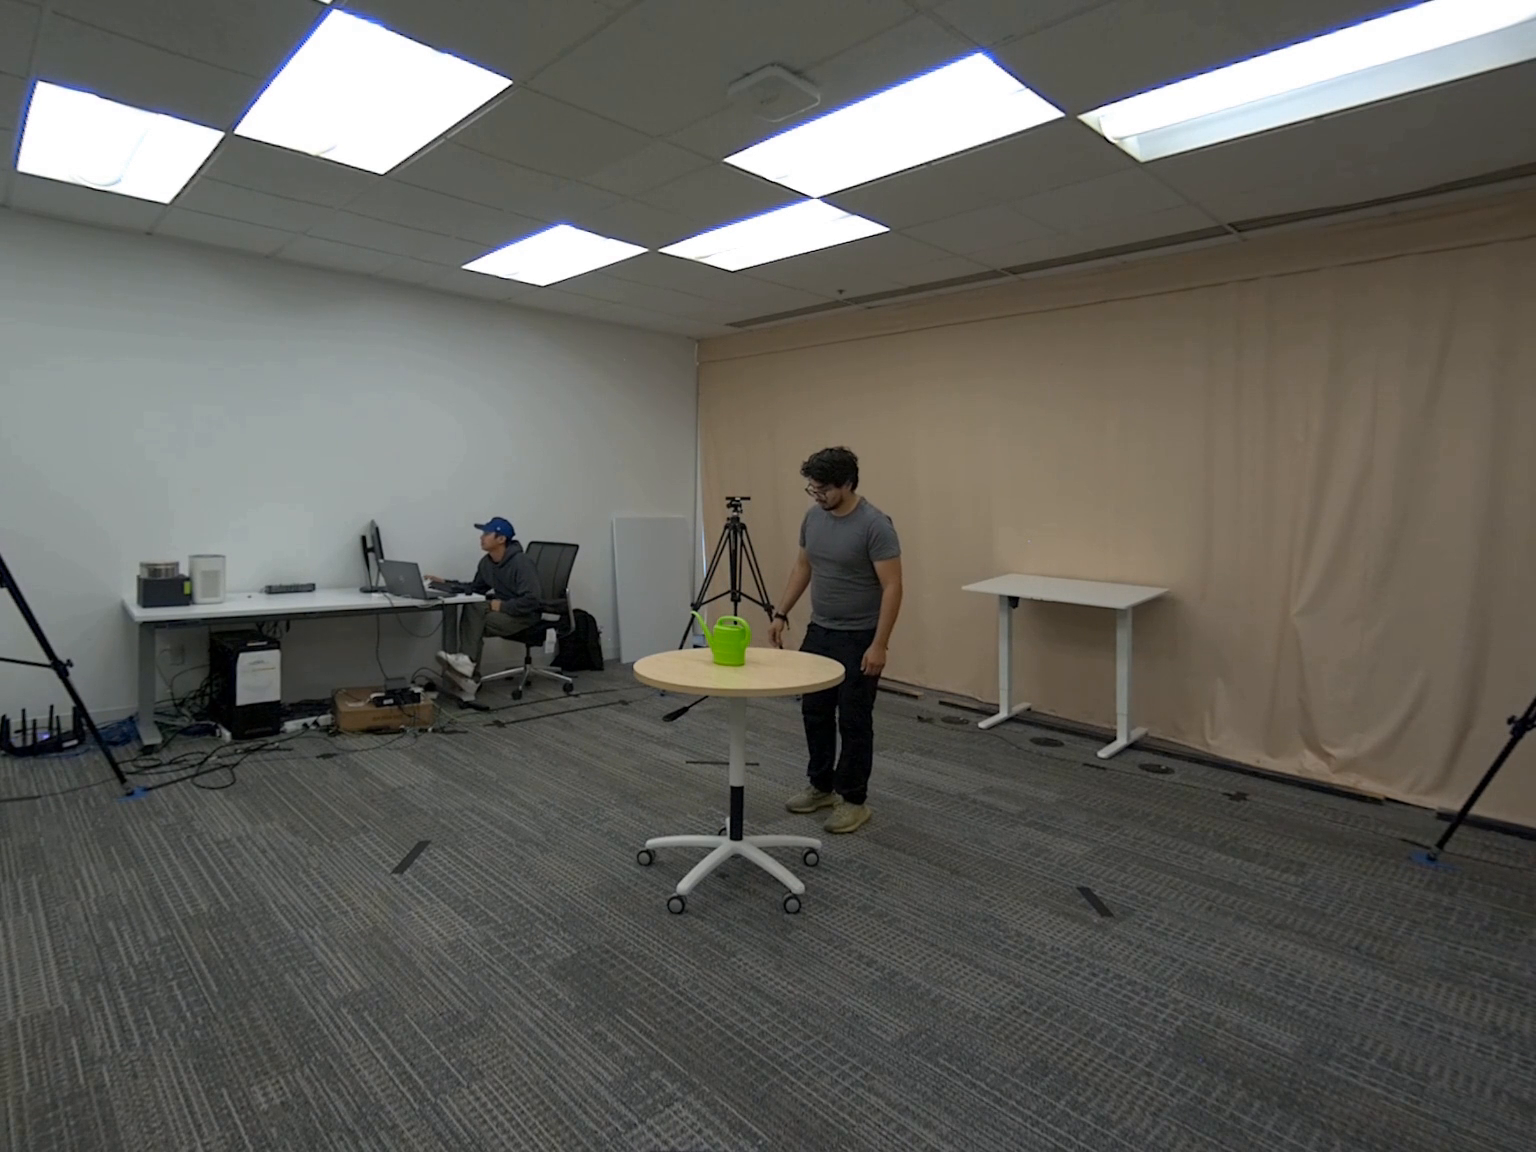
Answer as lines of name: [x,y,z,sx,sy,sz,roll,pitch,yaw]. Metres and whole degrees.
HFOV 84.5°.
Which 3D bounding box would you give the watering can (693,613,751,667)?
watering can: [-0.182,0.233,3.127,0.096,0.176,0.285,-2,7,-40]
